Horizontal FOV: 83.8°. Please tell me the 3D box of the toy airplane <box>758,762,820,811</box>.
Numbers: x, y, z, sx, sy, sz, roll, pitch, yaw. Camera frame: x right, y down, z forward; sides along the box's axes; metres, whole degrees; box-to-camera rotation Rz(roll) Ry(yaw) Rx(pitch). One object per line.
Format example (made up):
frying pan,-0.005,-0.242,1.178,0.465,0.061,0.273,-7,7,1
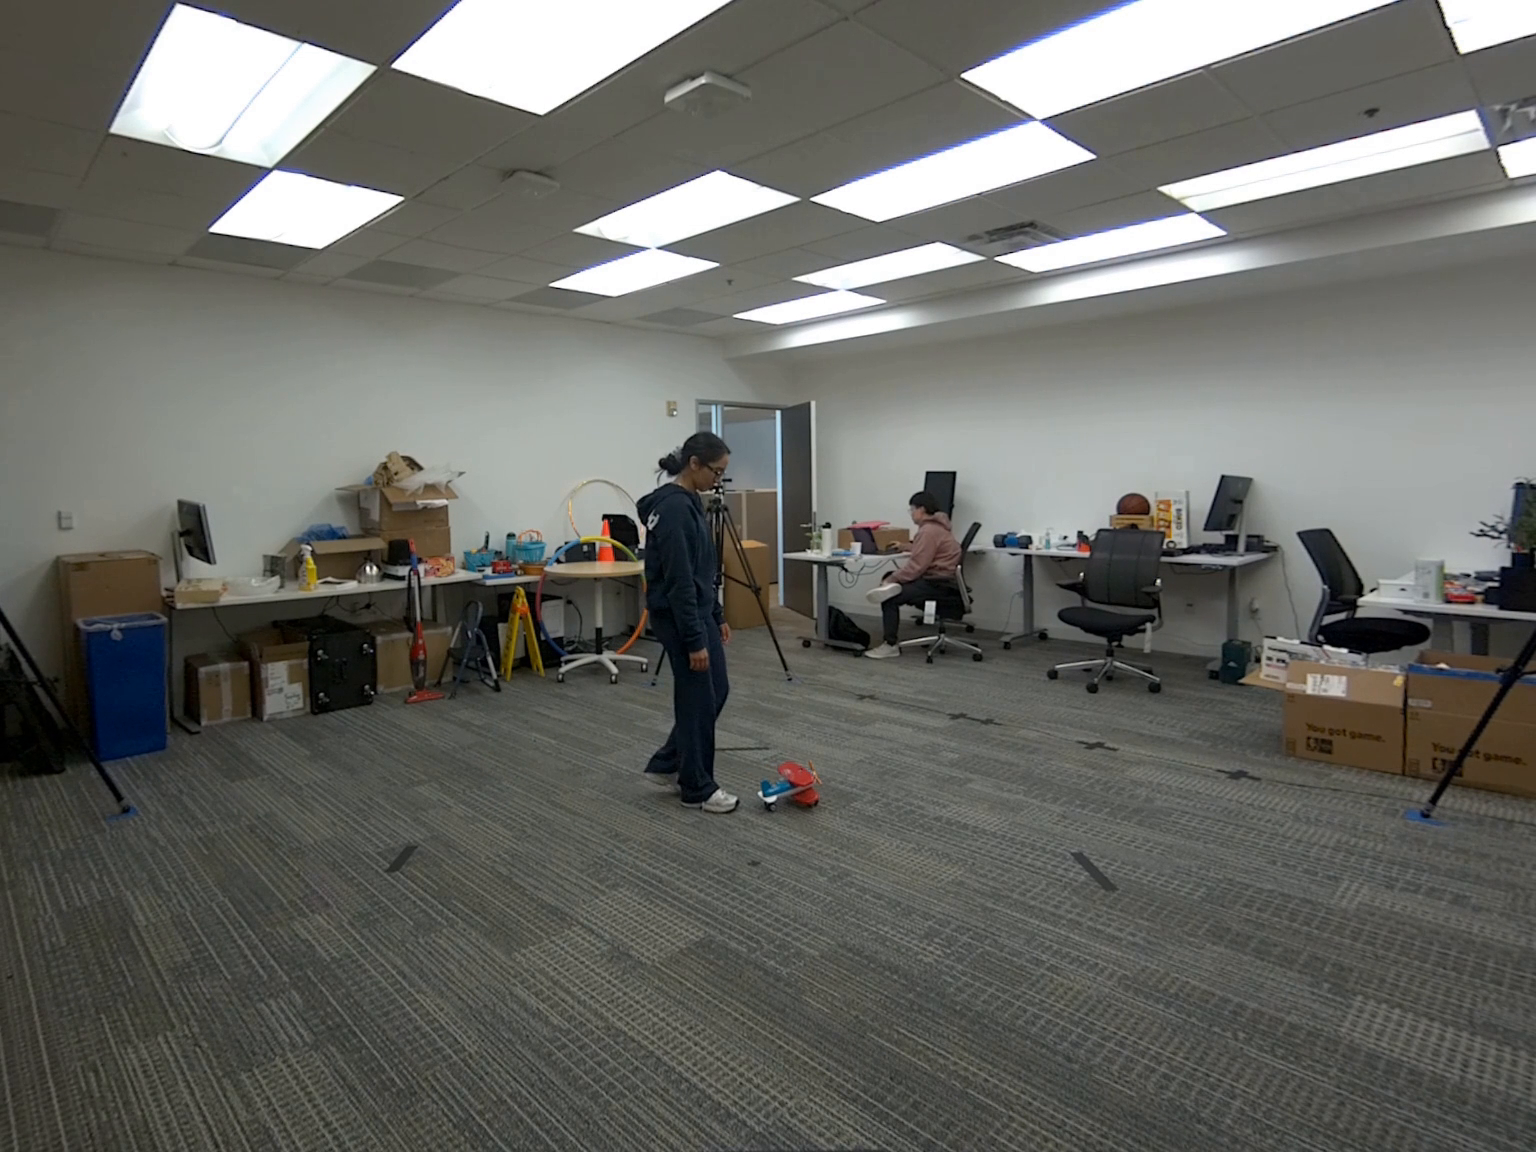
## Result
toy airplane,0.102,0.903,3.618,0.259,0.156,0.252,4,6,39
